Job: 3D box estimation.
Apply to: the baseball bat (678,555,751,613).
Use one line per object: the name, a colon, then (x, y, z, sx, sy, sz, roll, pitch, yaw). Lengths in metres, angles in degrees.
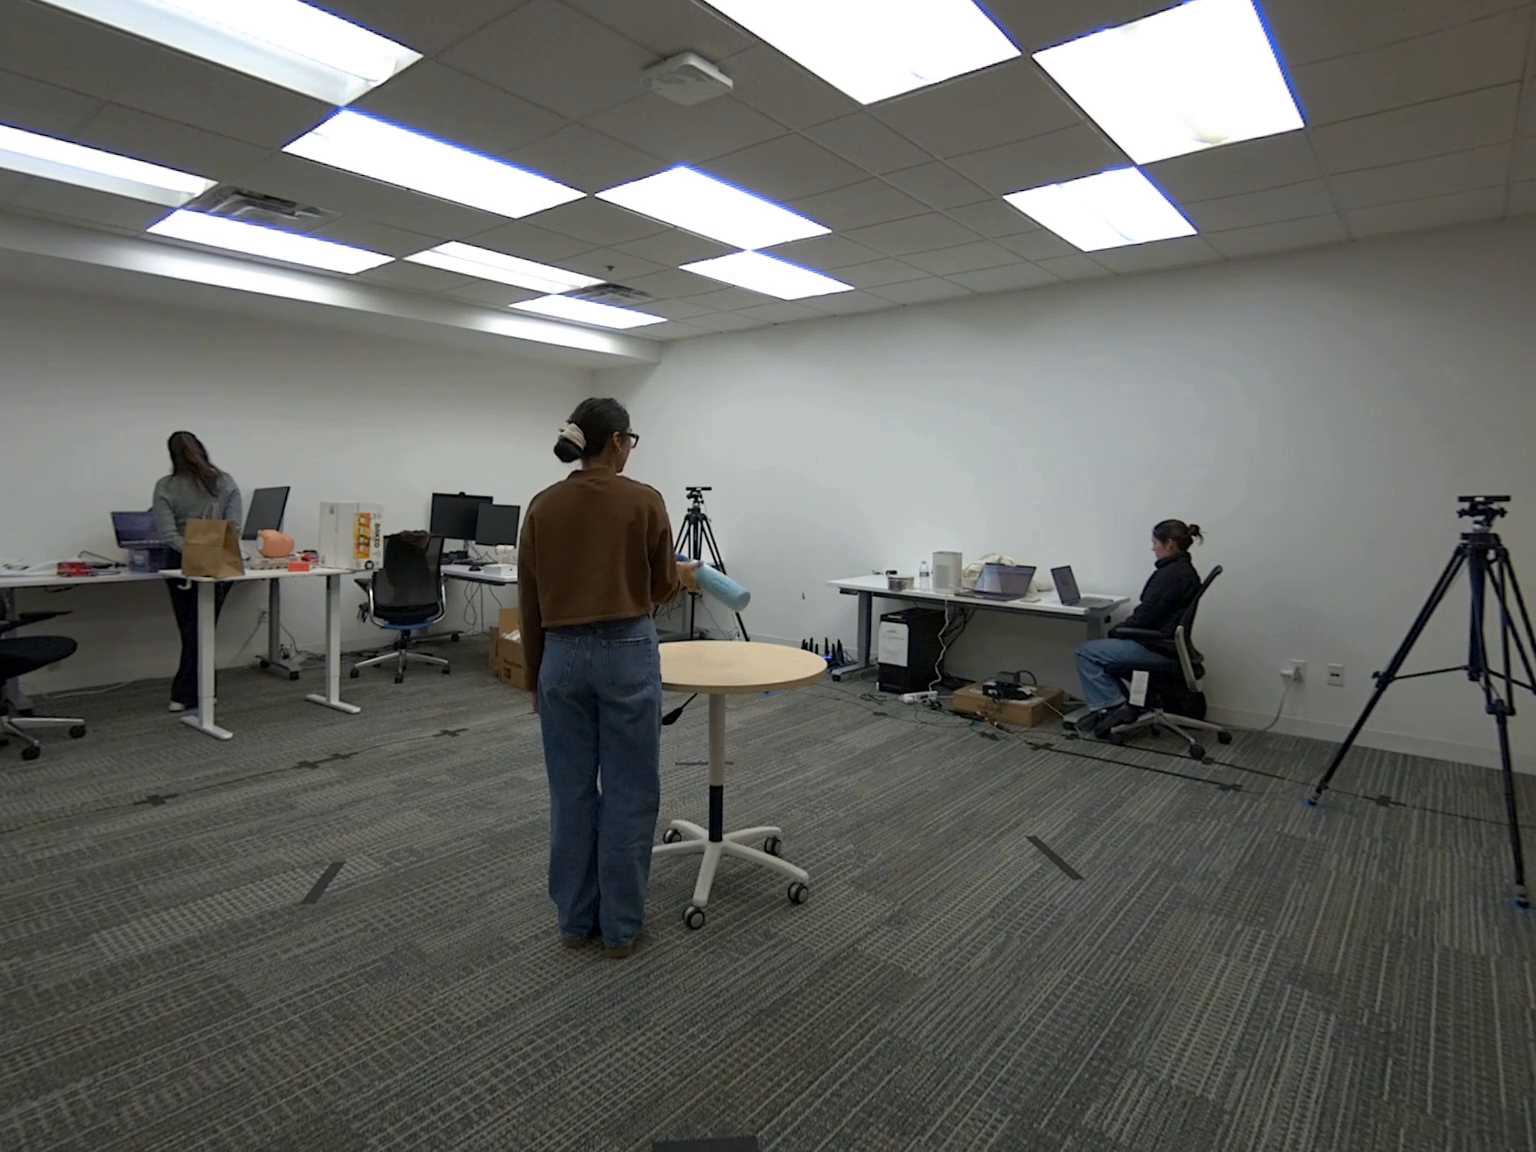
baseball bat: (-0.290, -0.032, 2.977, 0.564, 0.088, 0.086, 29, 19, 32)
